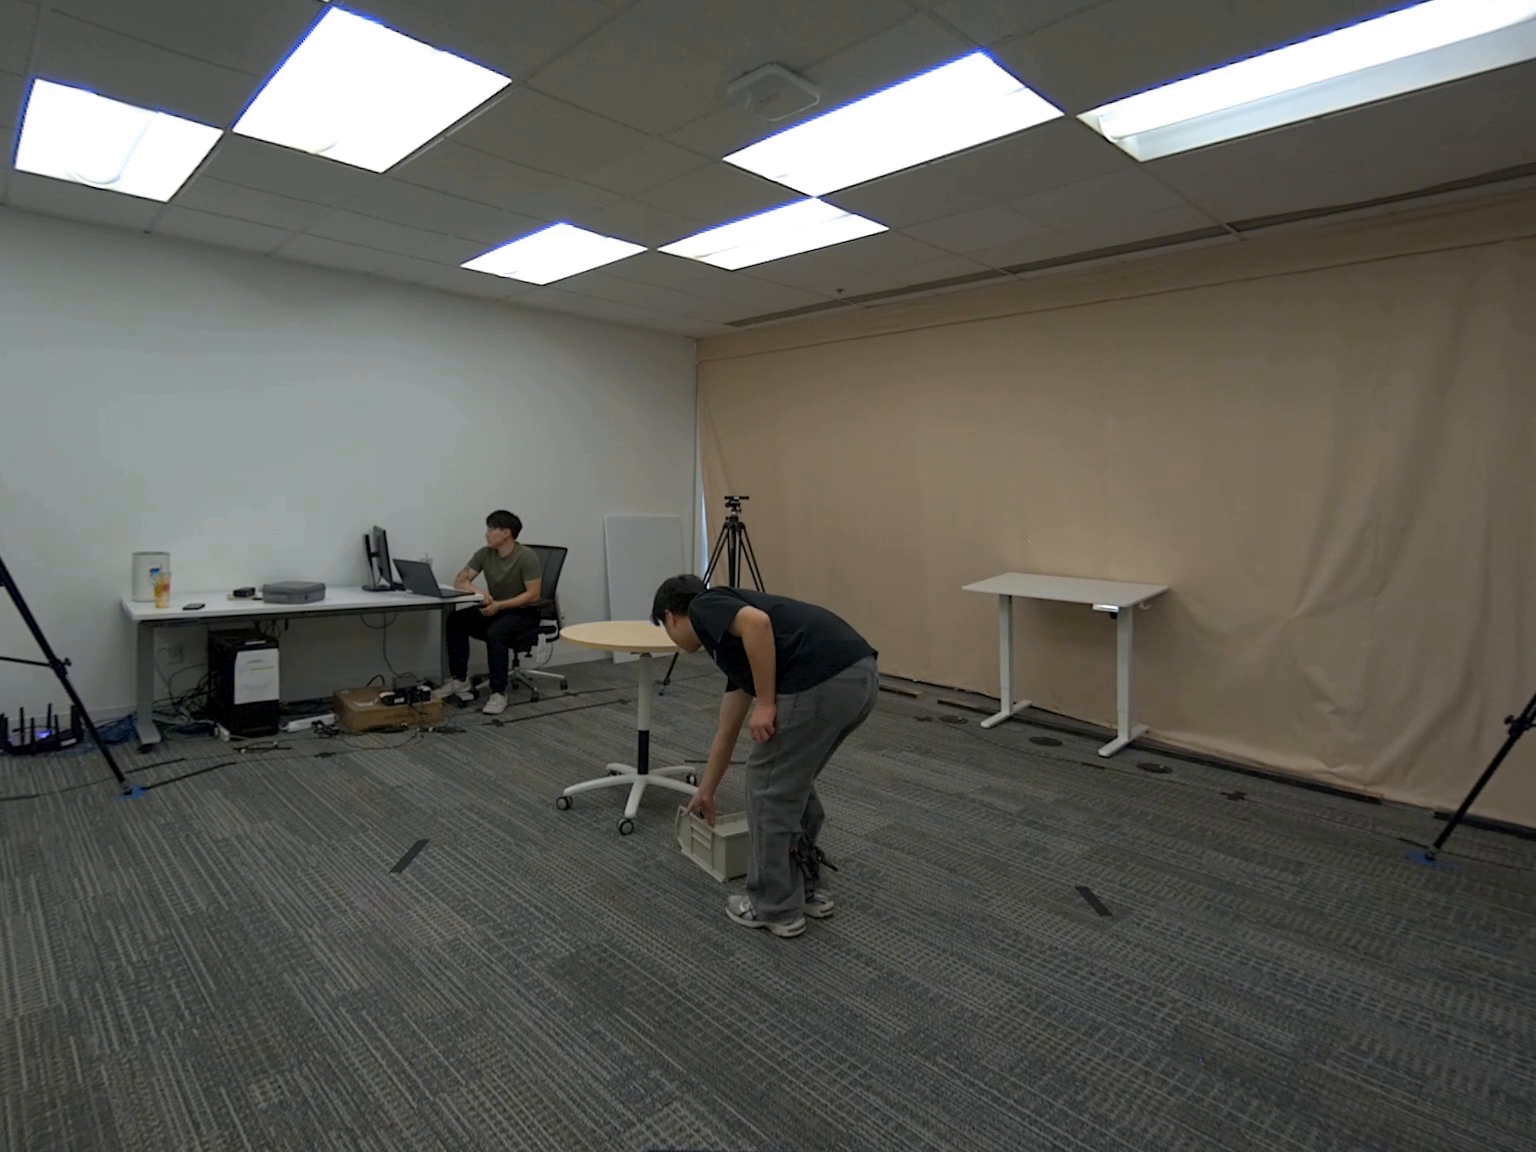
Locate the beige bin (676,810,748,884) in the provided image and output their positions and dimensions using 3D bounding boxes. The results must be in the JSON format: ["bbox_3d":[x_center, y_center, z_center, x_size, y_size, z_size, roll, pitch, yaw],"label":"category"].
[{"bbox_3d":[-0.099,0.997,3.284,0.413,0.188,0.386,-2,7,-32],"label":"beige bin"}]
